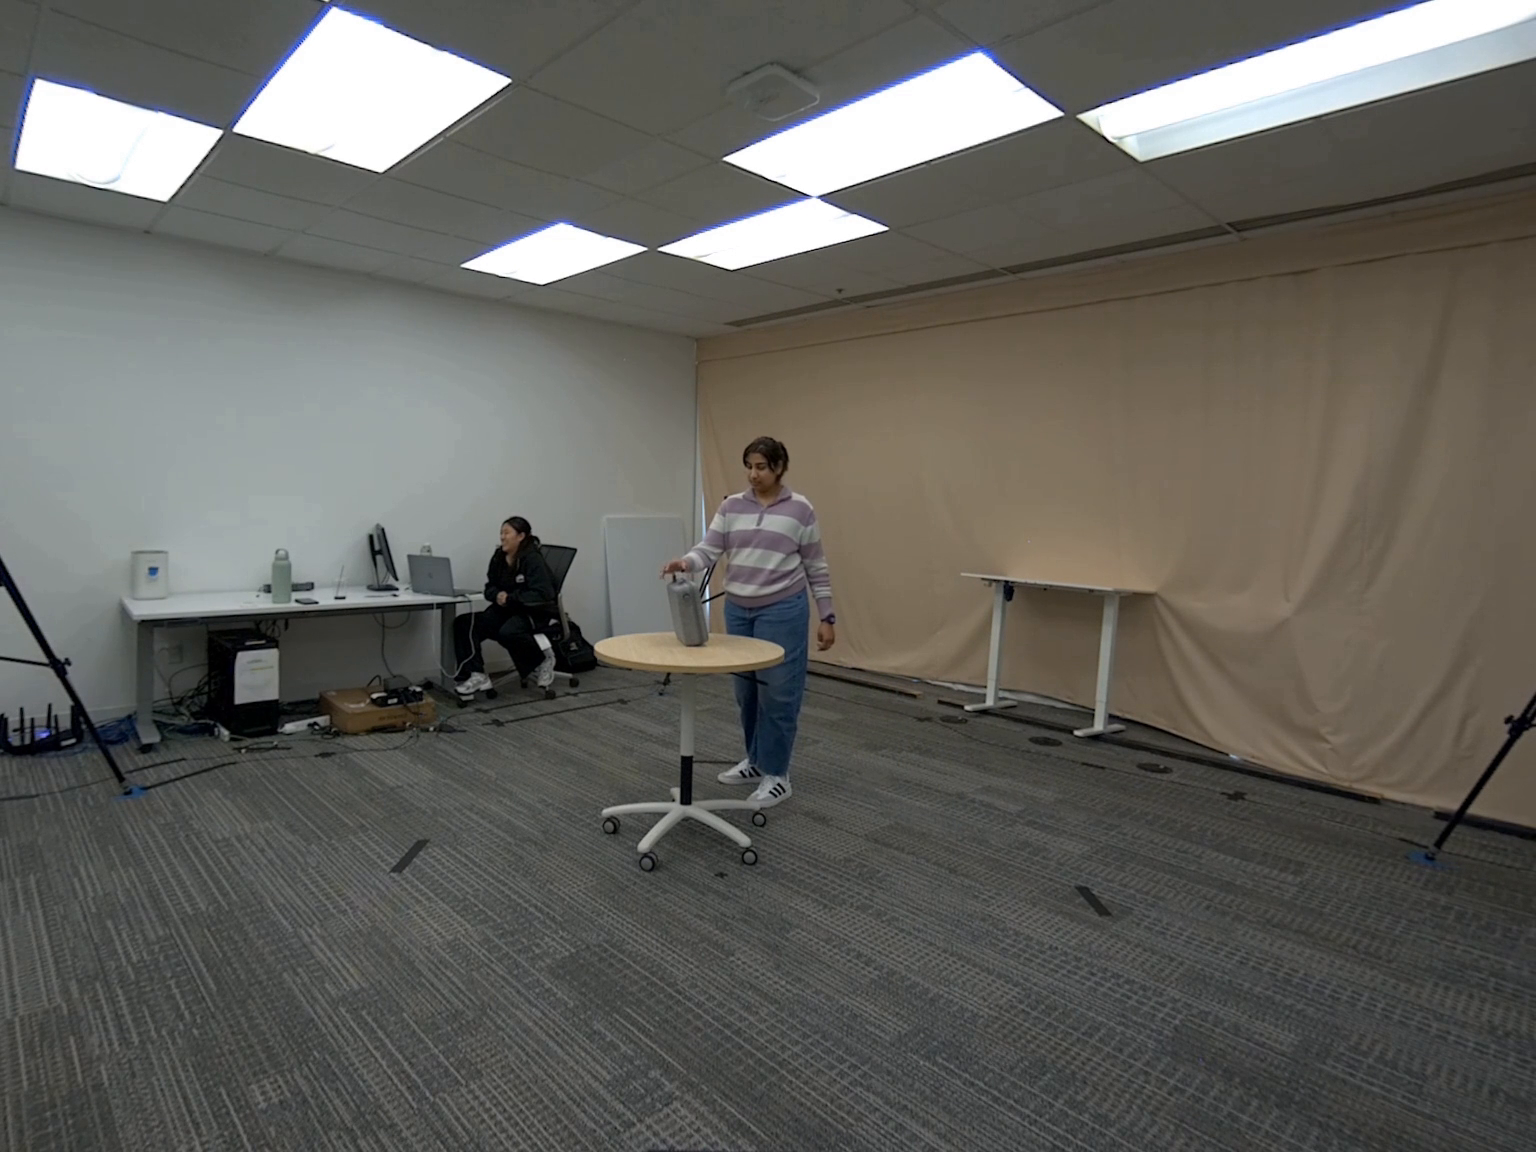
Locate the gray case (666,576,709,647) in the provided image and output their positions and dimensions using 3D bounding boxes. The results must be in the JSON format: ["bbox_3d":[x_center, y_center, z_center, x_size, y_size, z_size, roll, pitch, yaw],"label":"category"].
[{"bbox_3d":[-0.345,0.151,3.521,0.103,0.260,0.260,-7,4,-14],"label":"gray case"}]
